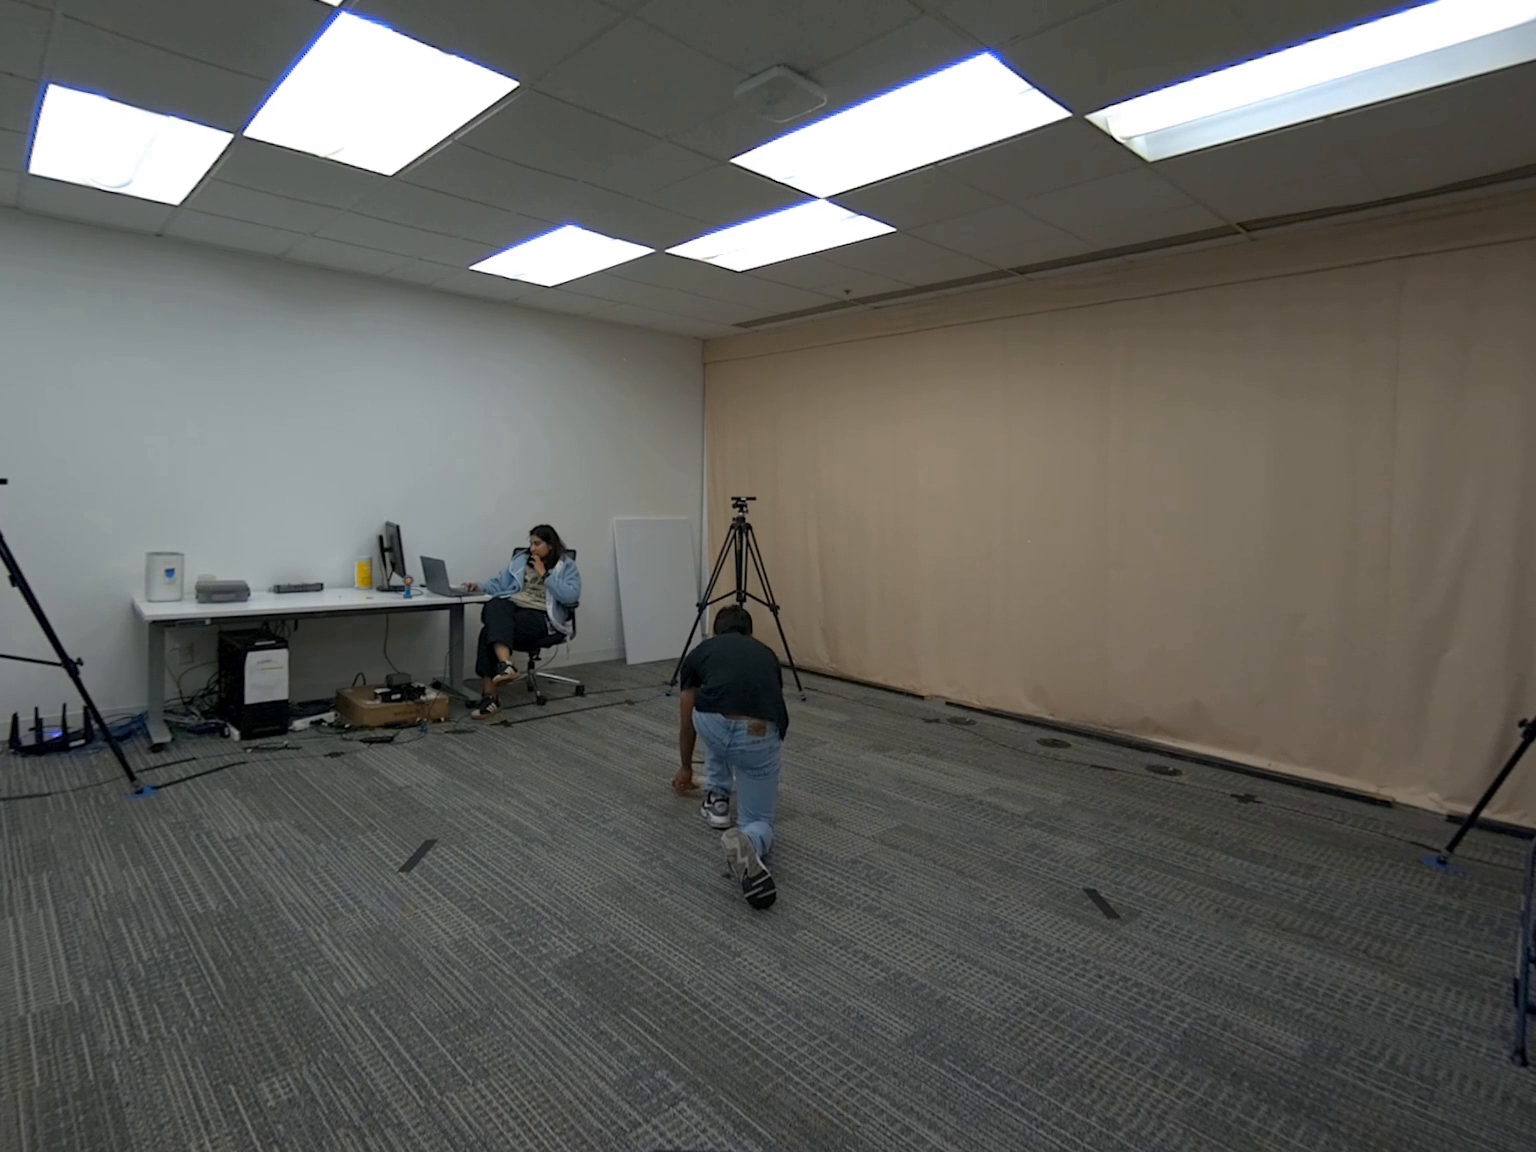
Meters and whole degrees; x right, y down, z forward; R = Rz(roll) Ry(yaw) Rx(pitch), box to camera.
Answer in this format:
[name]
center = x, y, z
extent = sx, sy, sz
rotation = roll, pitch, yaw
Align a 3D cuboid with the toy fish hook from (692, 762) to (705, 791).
[toy fish hook]
center = -0.209, 0.956, 4.043
extent = 0.503, 0.048, 0.225
rotation = 2, -3, -8
